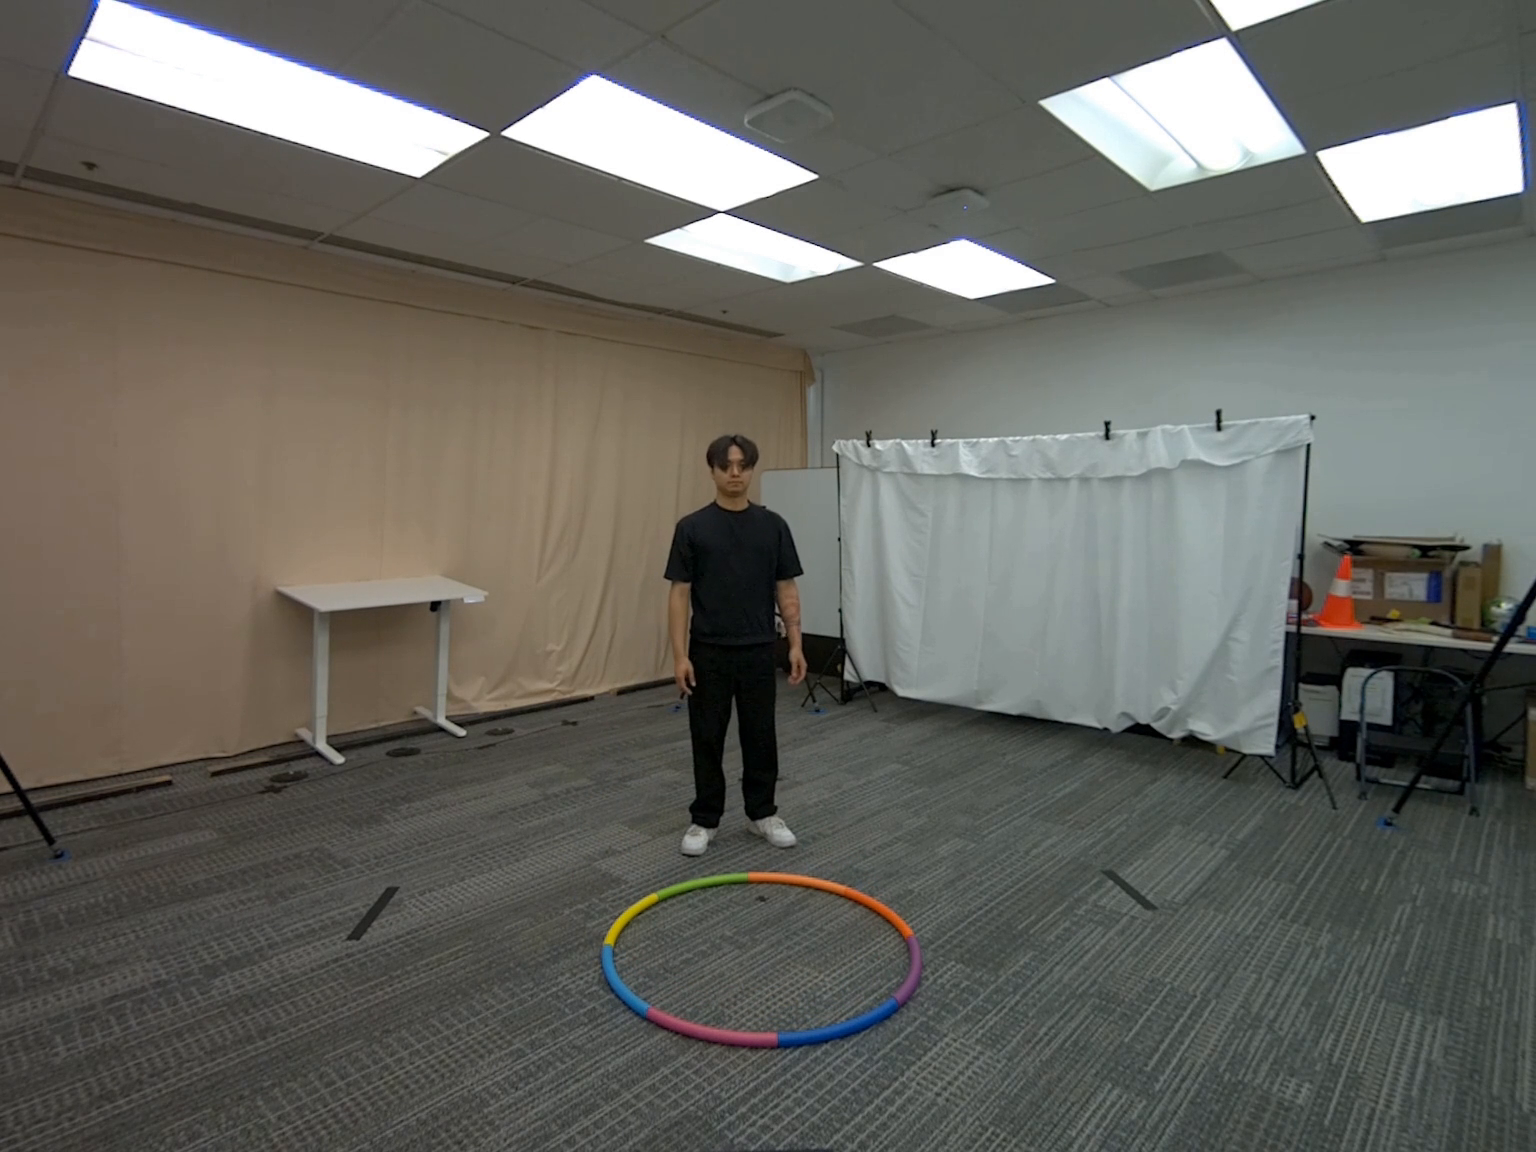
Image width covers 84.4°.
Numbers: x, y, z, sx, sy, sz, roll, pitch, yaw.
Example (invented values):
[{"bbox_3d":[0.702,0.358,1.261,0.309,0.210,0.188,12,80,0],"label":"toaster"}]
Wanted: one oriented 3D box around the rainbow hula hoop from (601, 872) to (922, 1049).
[{"bbox_3d":[-0.020,1.141,2.648,0.978,0.035,0.982,0,4,-2],"label":"rainbow hula hoop"}]
